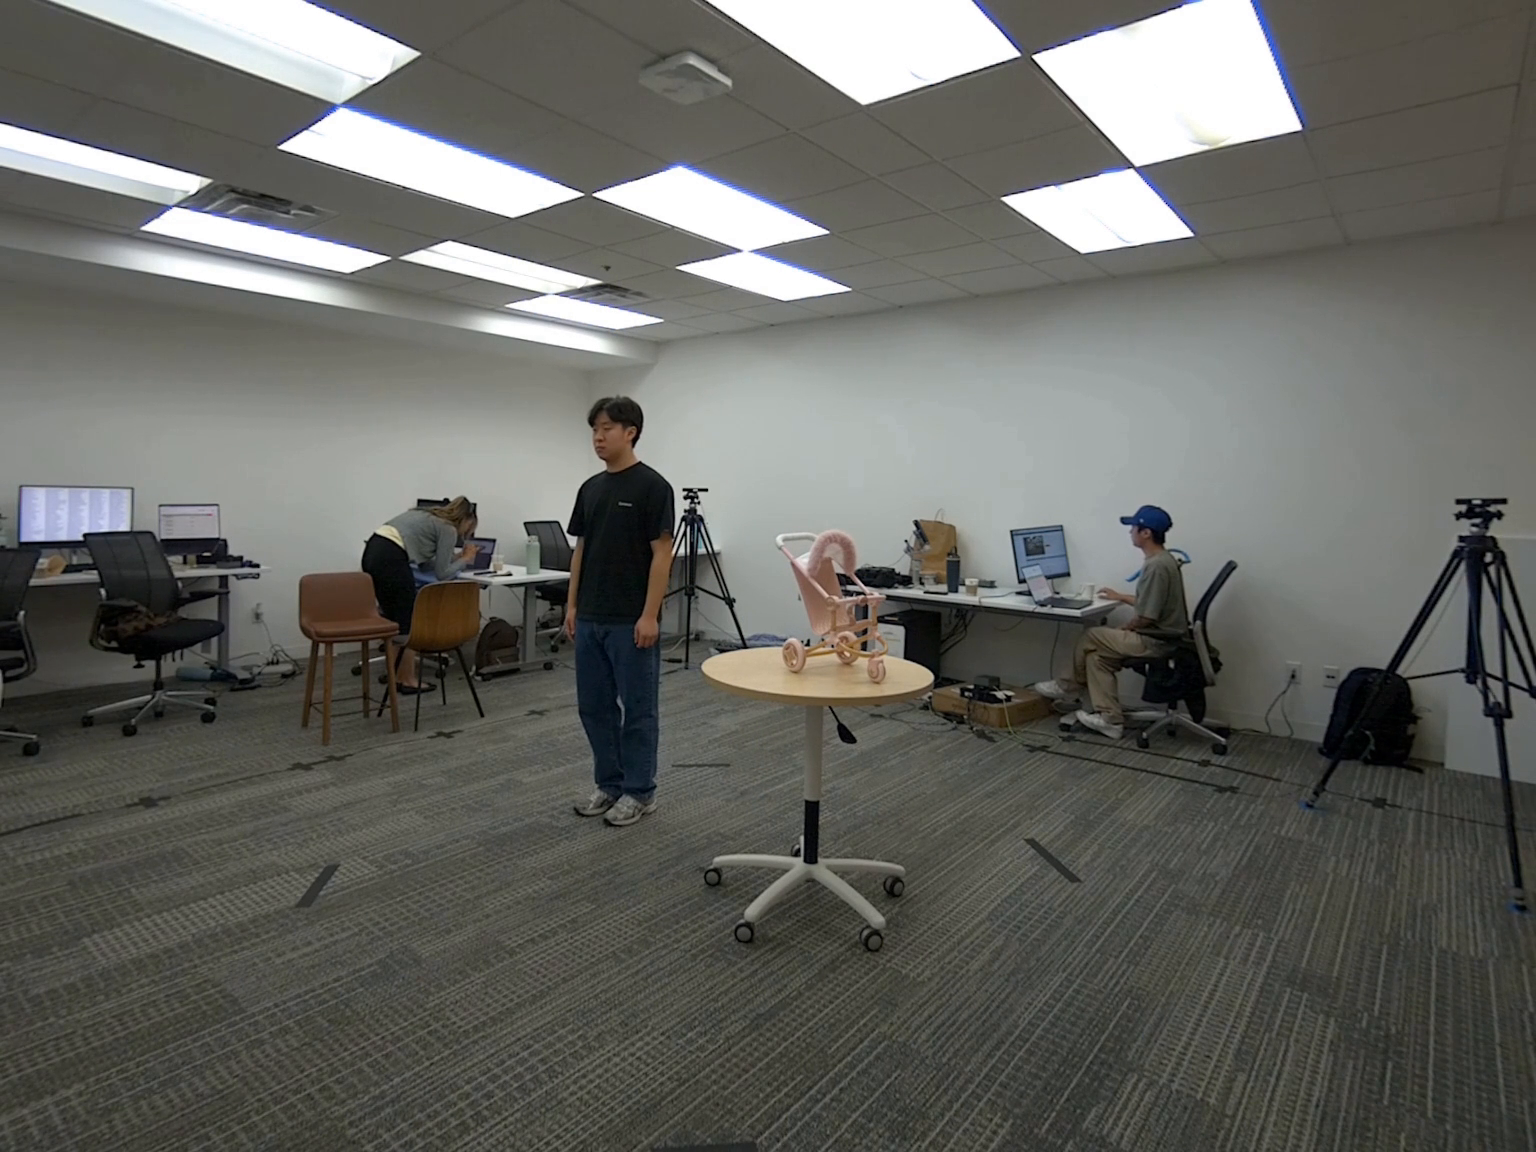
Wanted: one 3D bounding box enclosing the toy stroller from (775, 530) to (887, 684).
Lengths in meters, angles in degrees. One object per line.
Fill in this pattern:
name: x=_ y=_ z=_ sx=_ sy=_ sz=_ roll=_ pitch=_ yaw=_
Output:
toy stroller: x=0.212 y=0.088 z=2.792 sx=0.273 sy=0.540 sz=0.348 roll=-2 pitch=-10 yaw=-34
